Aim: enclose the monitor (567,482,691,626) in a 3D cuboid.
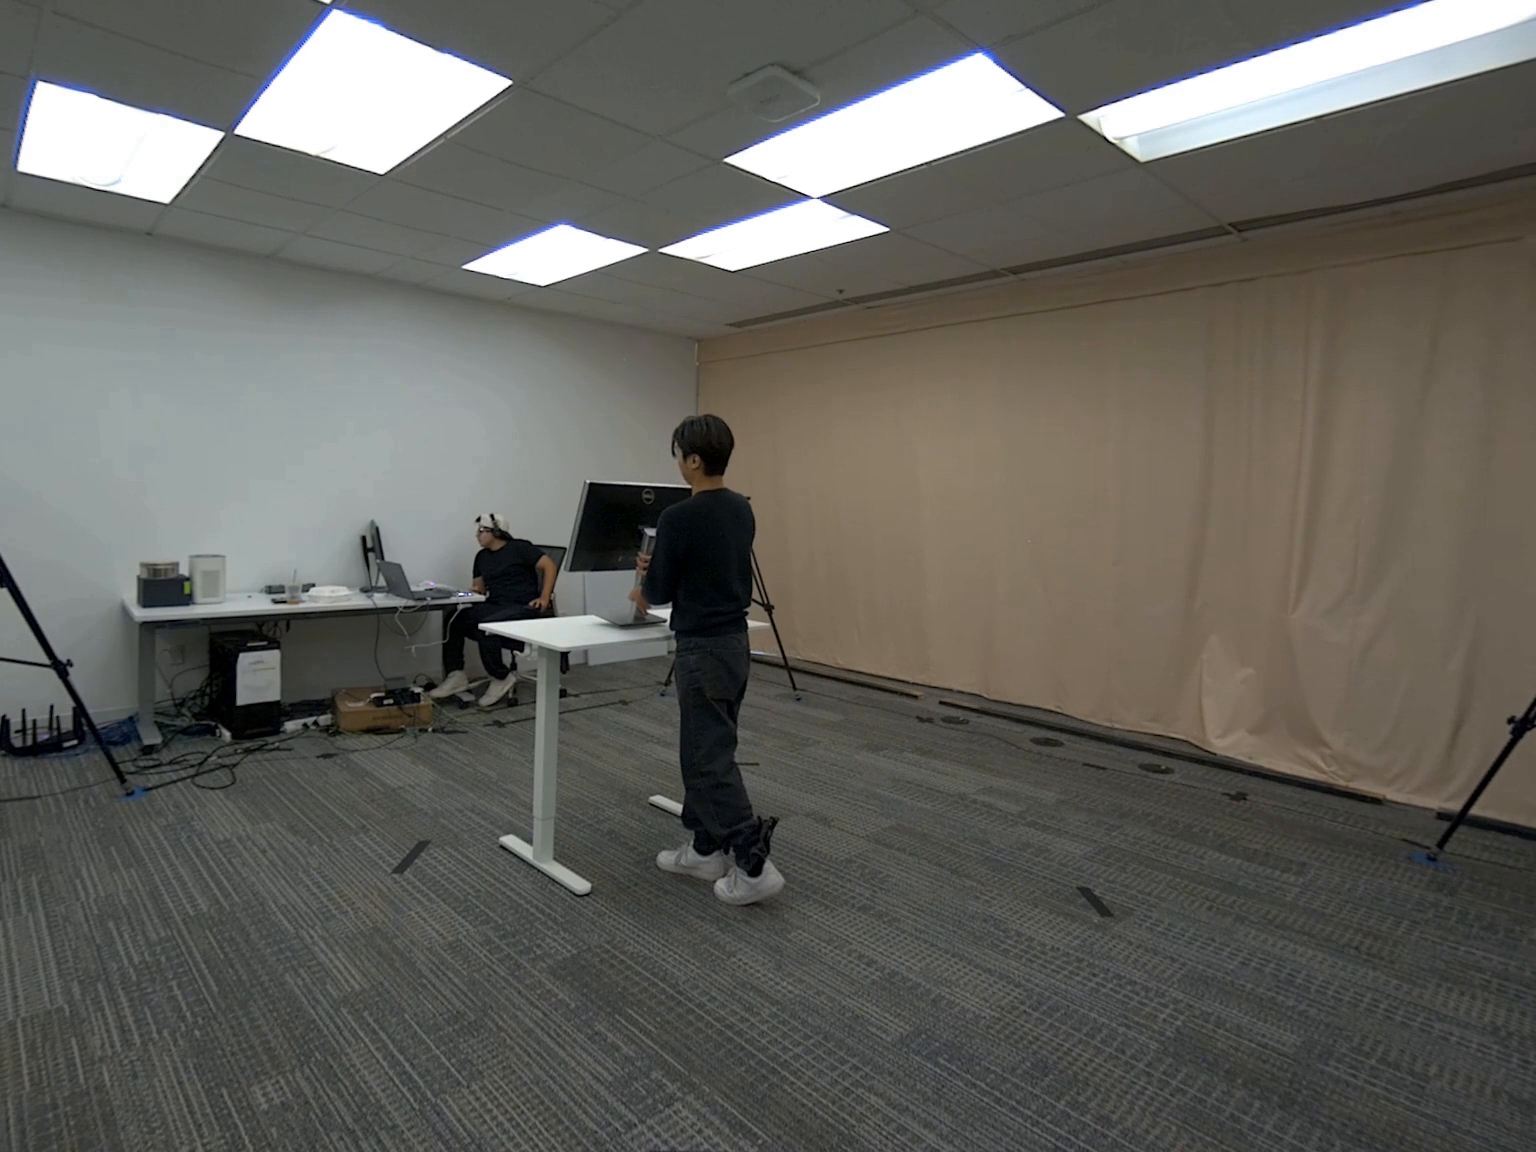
[{"bbox_3d":[-0.510,-0.092,3.293,0.192,0.520,0.527,12,10,41],"label":"monitor"}]
